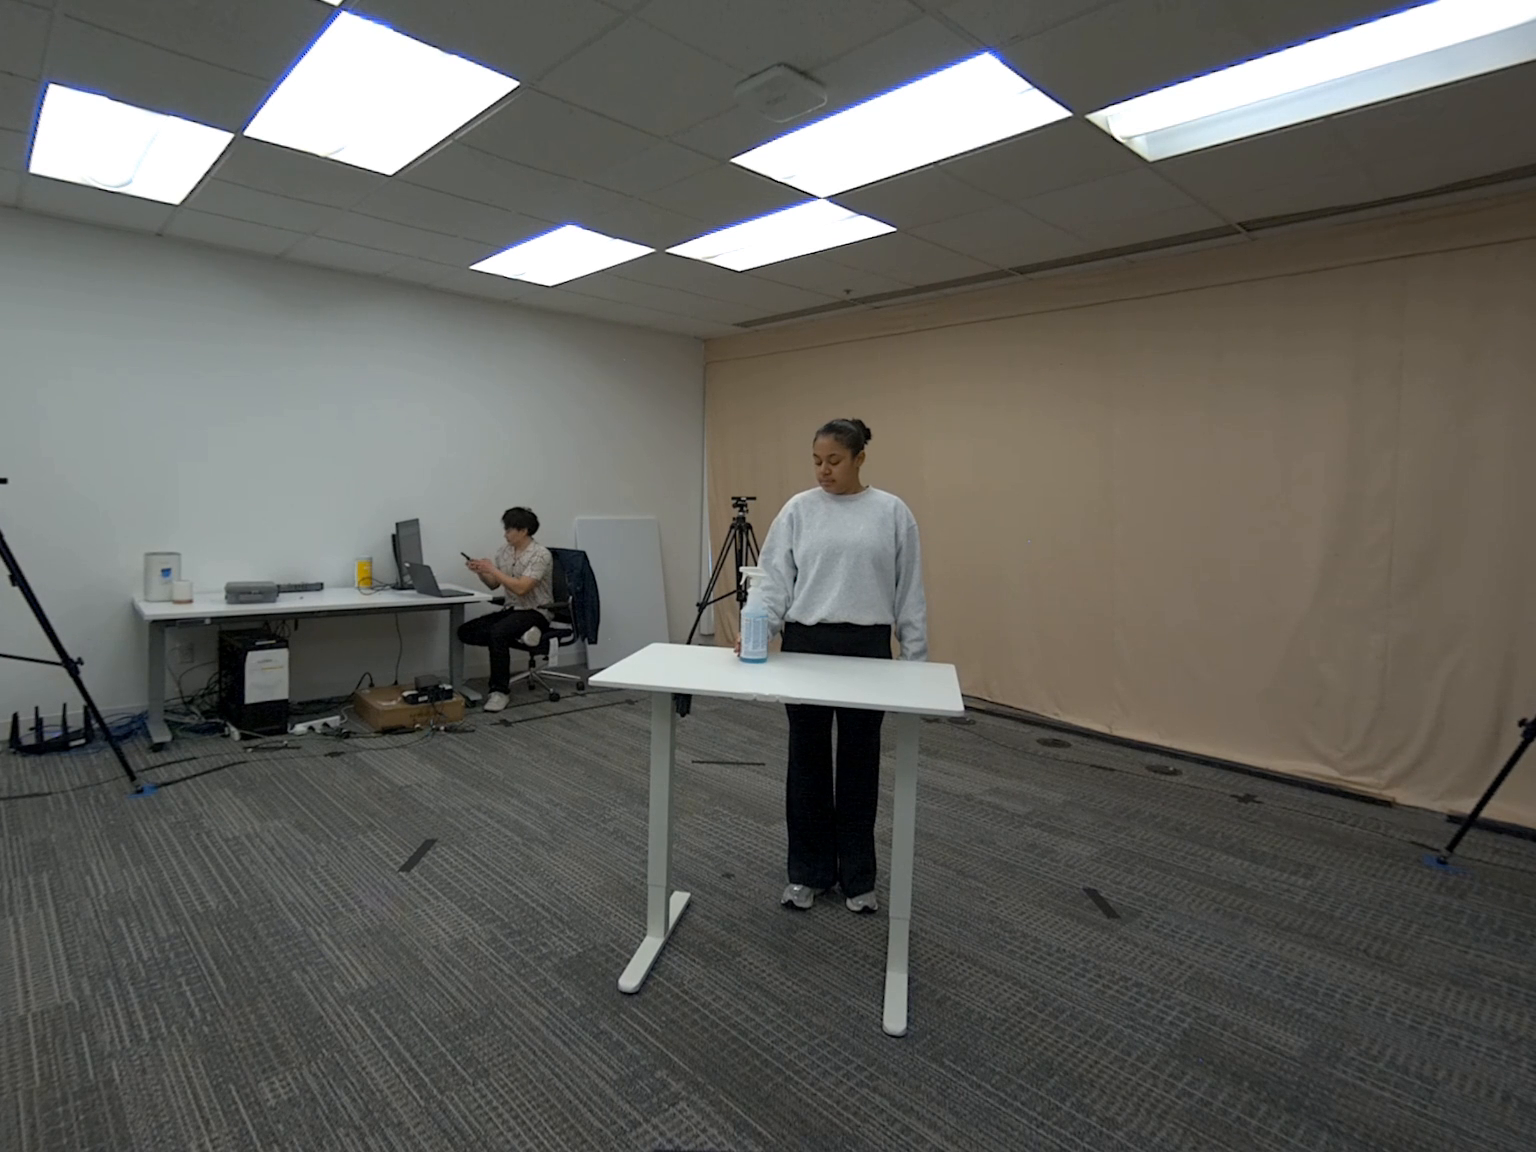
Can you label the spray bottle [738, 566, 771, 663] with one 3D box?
[{"bbox_3d":[-0.047,0.121,2.634,0.091,0.297,0.086,1,1,13],"label":"spray bottle"}]
